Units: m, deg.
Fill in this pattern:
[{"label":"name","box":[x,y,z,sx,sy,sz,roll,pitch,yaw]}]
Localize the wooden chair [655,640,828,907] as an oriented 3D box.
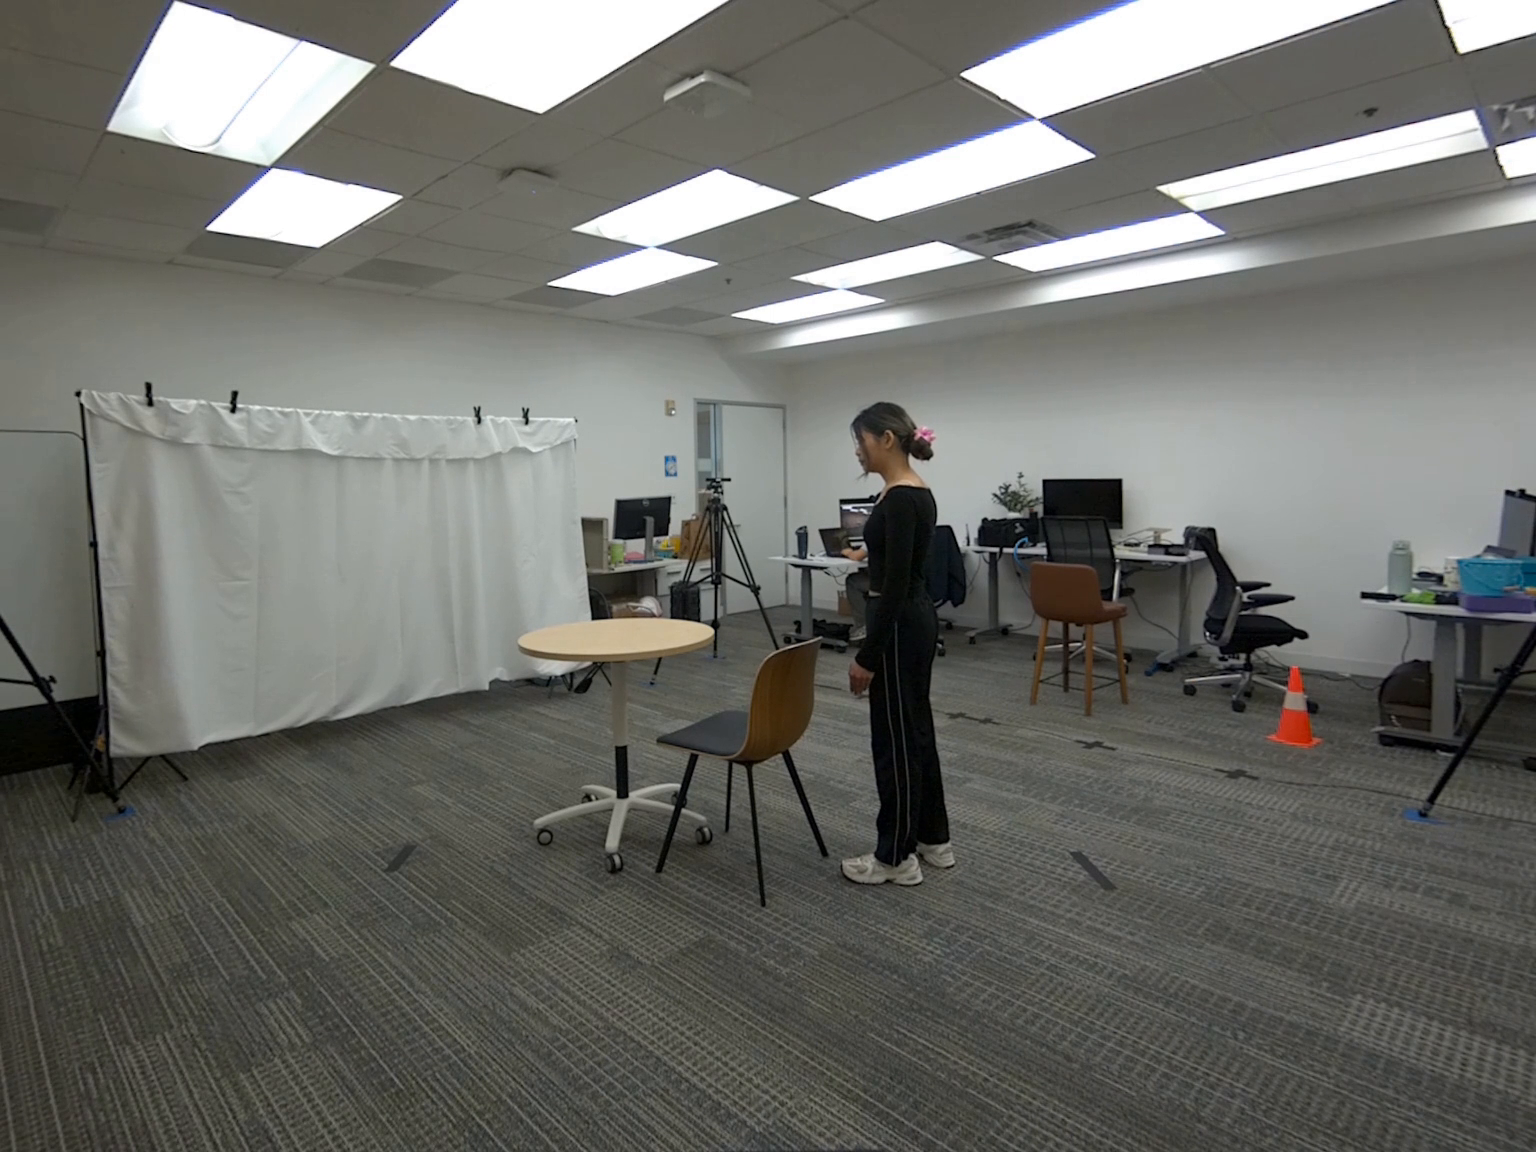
[{"label":"wooden chair","box":[-0.100,0.618,3.060,0.539,0.872,0.467,7,8,33]}]
